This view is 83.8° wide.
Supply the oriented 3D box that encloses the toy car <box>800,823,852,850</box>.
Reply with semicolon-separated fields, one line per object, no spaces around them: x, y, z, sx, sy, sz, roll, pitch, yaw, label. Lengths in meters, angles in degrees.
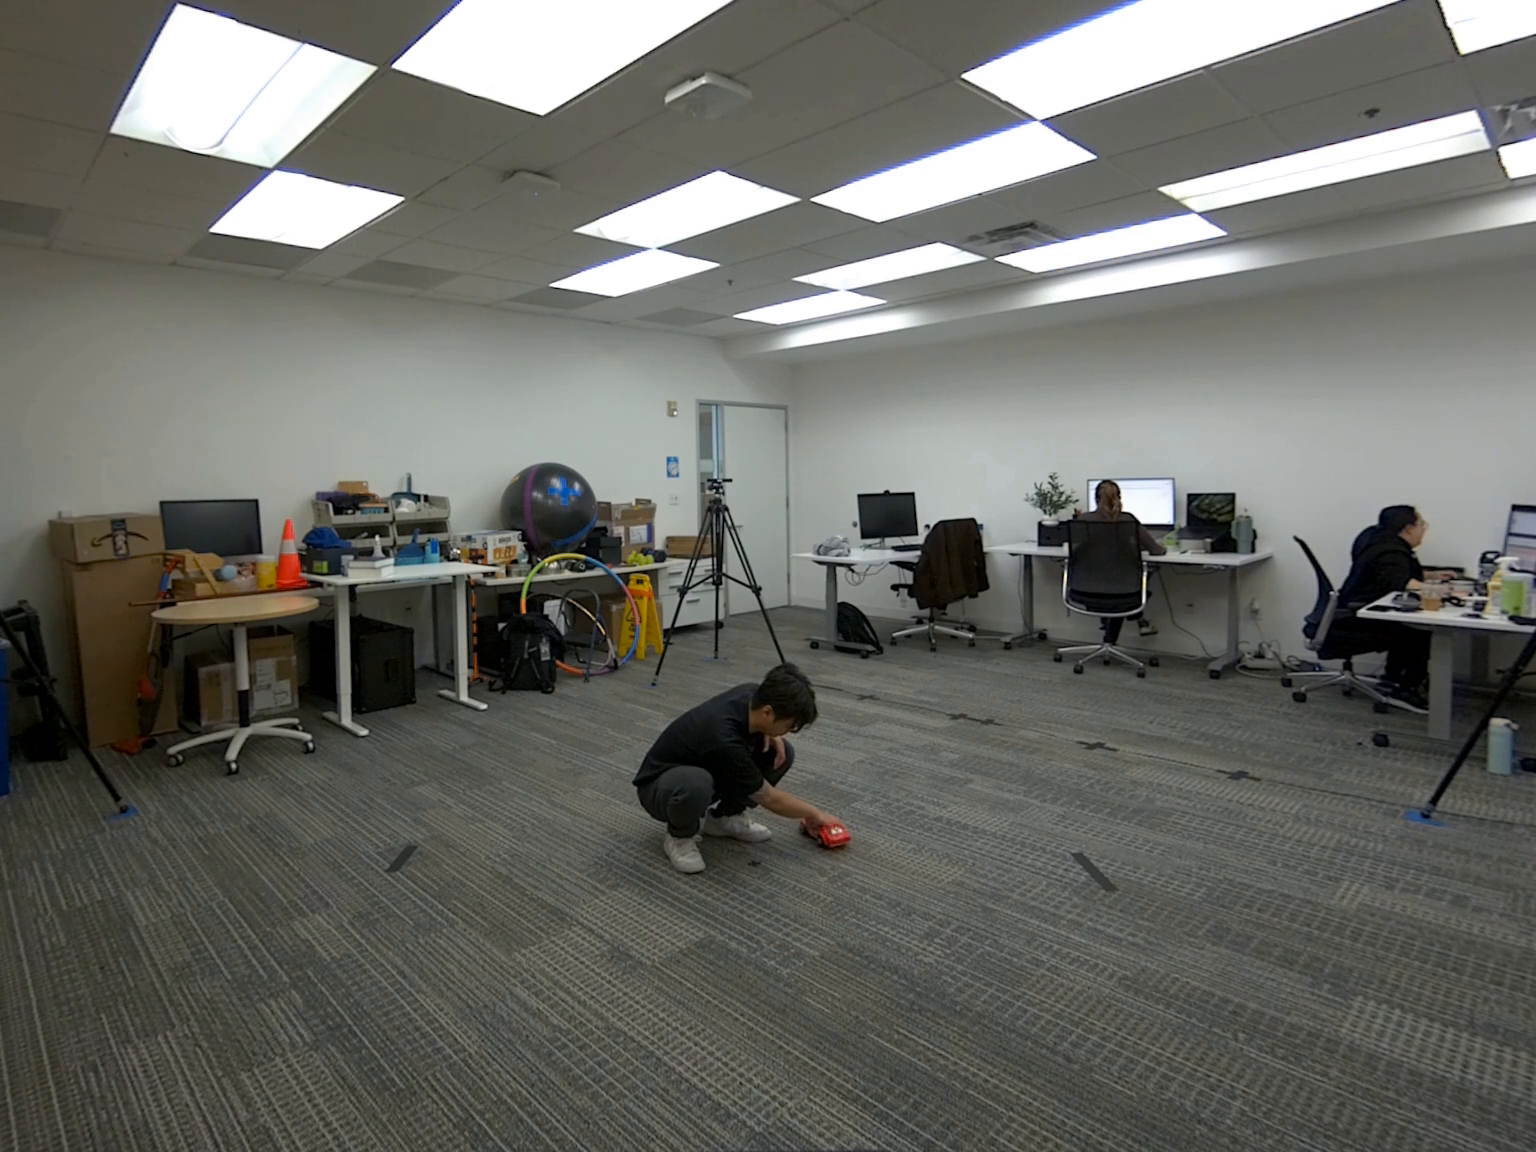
0.220;0.983;3.290;0.128;0.083;0.258;-3;-3;-24;toy car
